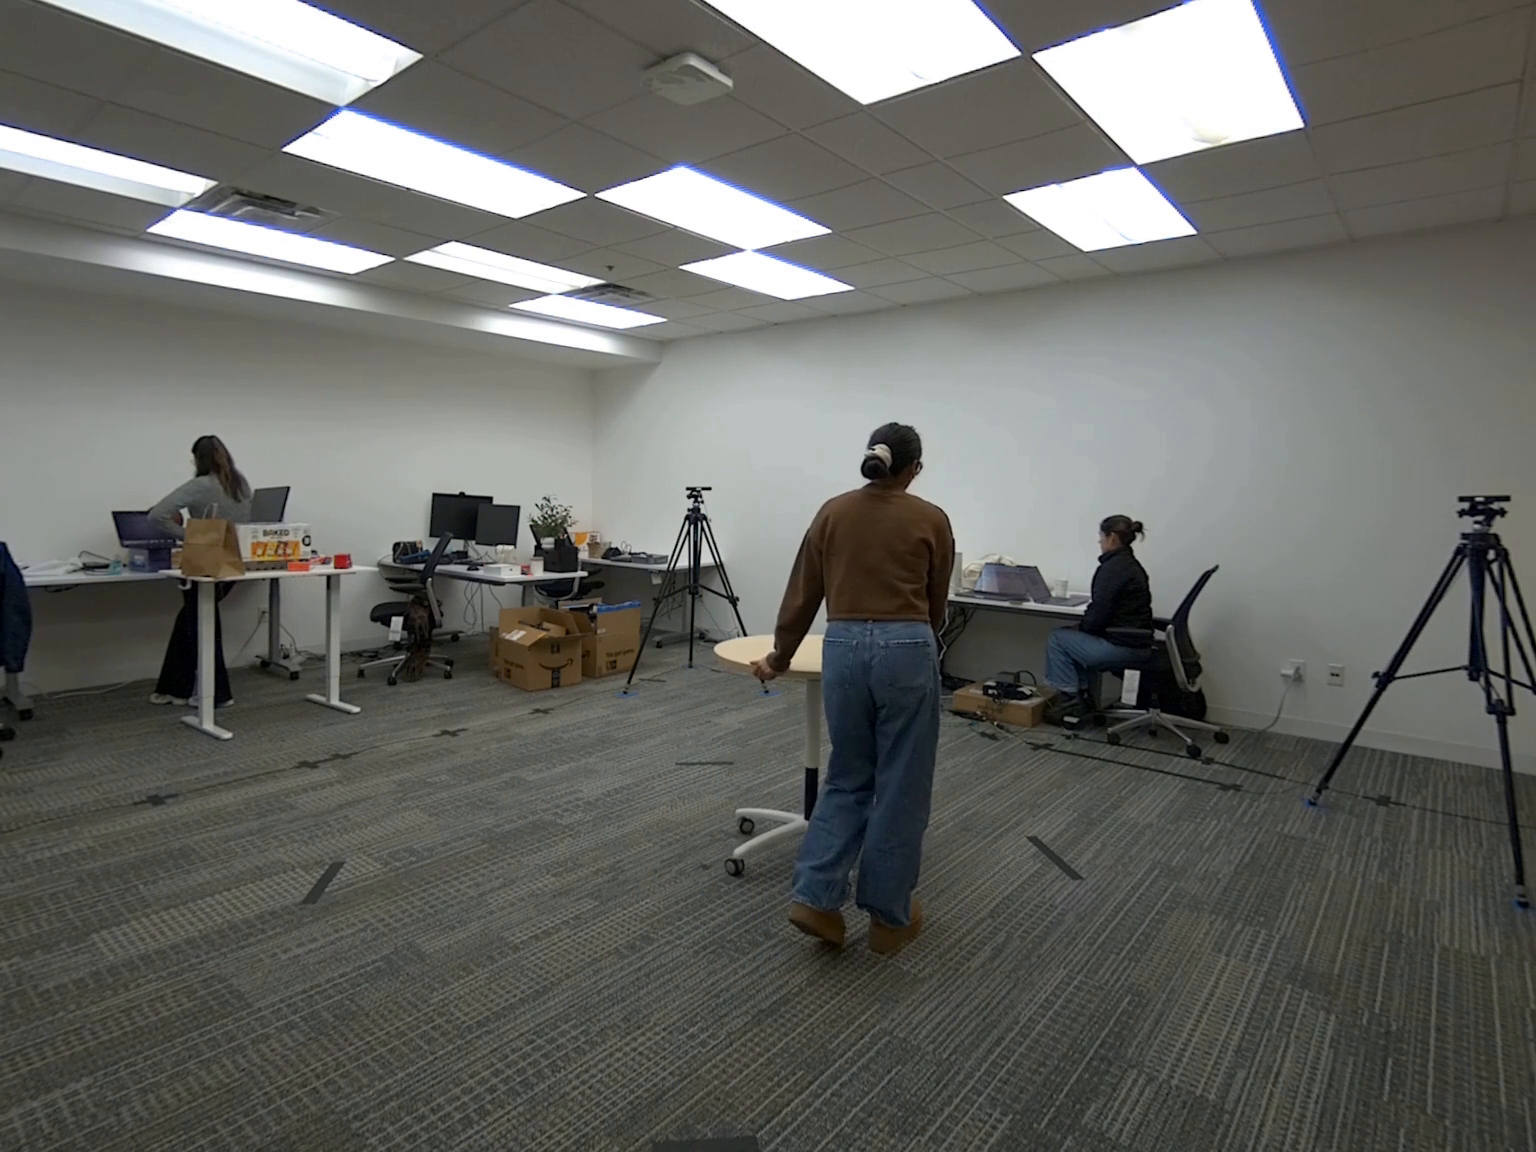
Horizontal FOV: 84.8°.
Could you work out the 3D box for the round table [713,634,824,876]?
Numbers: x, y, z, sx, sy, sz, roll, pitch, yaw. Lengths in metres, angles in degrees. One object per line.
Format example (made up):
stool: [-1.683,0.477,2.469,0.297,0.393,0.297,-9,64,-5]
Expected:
round table: [0.149,0.667,3.233,0.784,0.784,0.789,2,4,-2]
